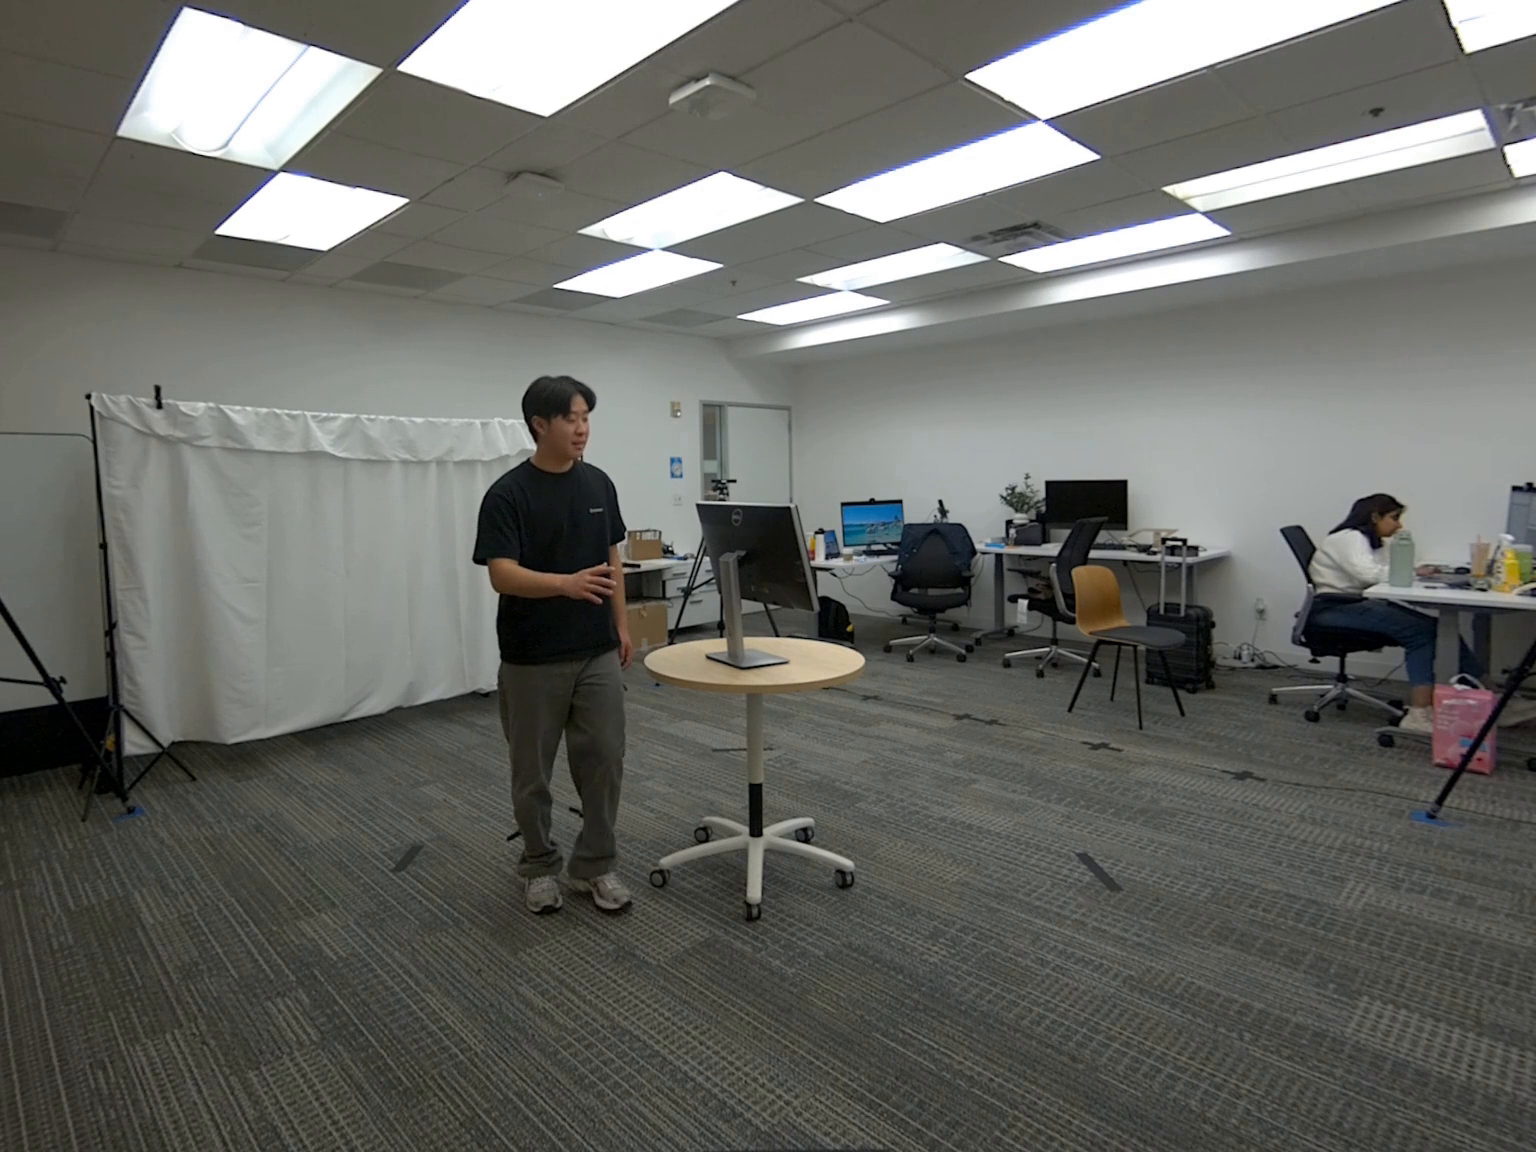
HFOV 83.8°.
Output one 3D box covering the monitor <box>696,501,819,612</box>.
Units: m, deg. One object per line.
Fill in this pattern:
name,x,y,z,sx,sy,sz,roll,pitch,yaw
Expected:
monitor,-0.073,0.030,2.932,0.216,0.564,0.578,-2,6,-33
